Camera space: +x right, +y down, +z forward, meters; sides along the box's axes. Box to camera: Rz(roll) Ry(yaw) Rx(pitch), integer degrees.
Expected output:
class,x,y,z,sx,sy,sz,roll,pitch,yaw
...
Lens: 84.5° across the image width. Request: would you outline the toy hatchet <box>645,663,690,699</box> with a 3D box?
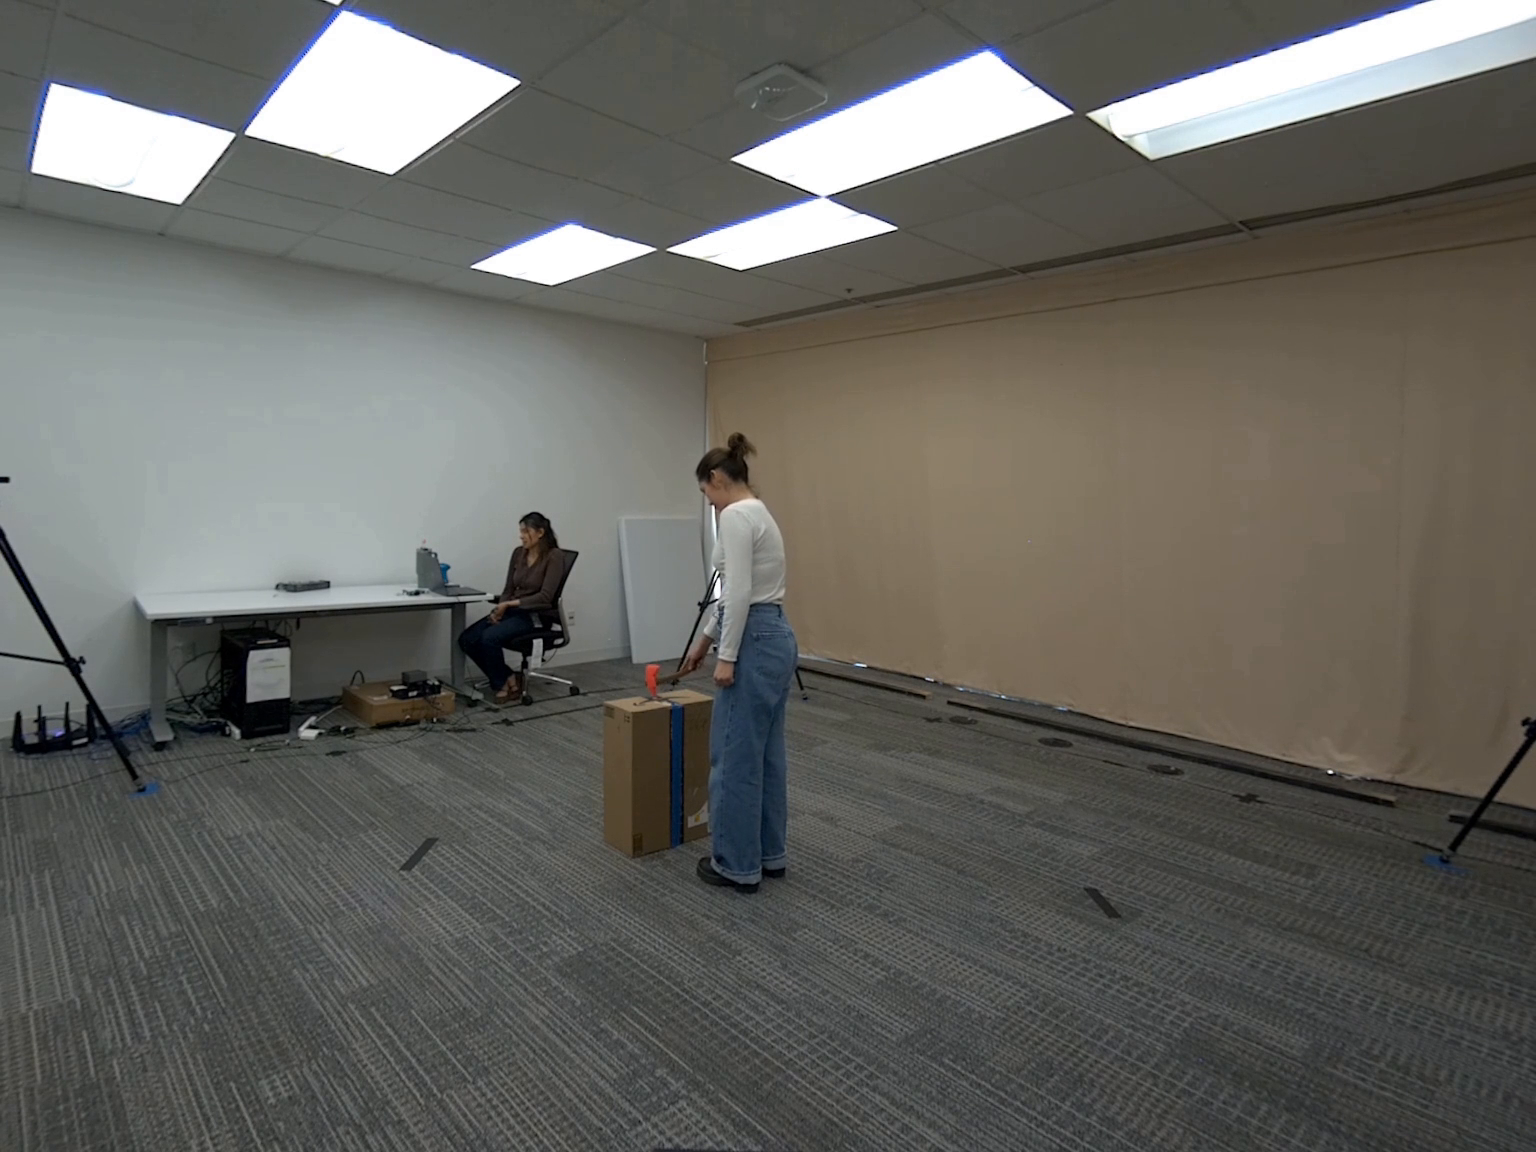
class,x,y,z,sx,sy,sz,roll,pitch,yaw
toy hatchet,-0.397,0.373,3.416,0.271,0.133,0.029,-38,-18,23
